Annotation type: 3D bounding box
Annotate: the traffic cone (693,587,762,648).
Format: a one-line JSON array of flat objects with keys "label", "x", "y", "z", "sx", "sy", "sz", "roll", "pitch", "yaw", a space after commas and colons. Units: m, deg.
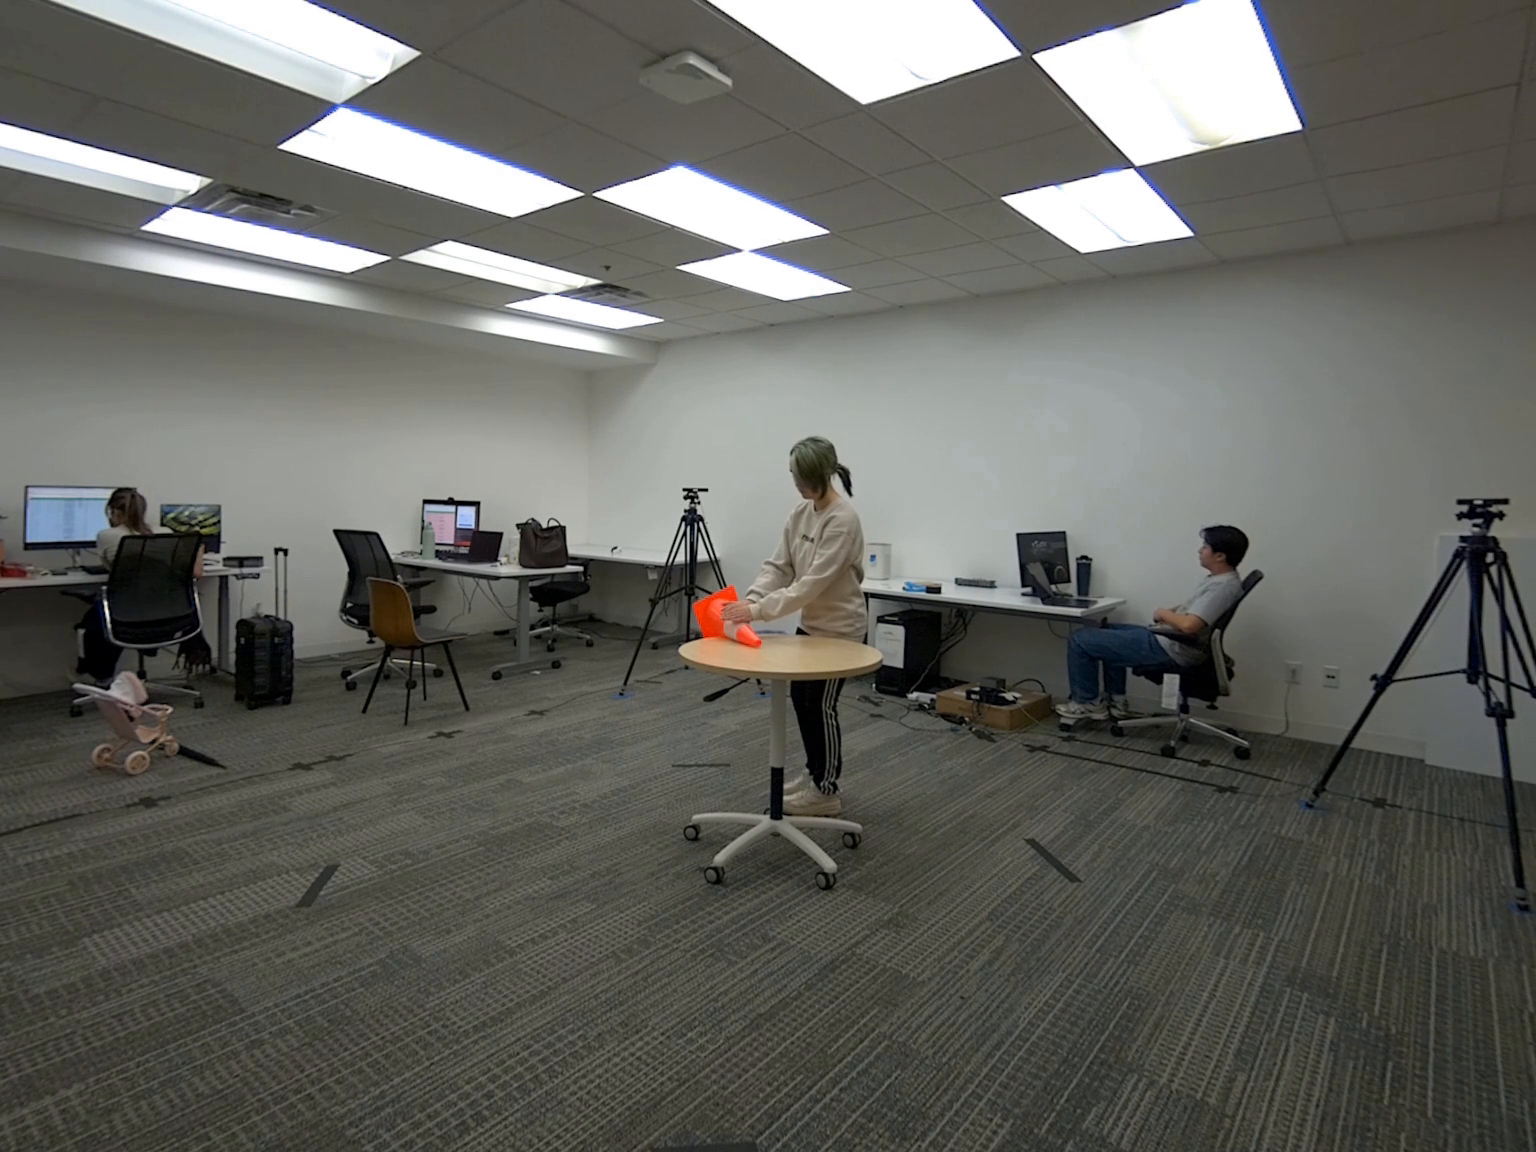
[{"label": "traffic cone", "x": -0.135, "y": 0.209, "z": 3.432, "sx": 0.202, "sy": 0.199, "sz": 0.397, "roll": -31, "pitch": 25, "yaw": -13}]
